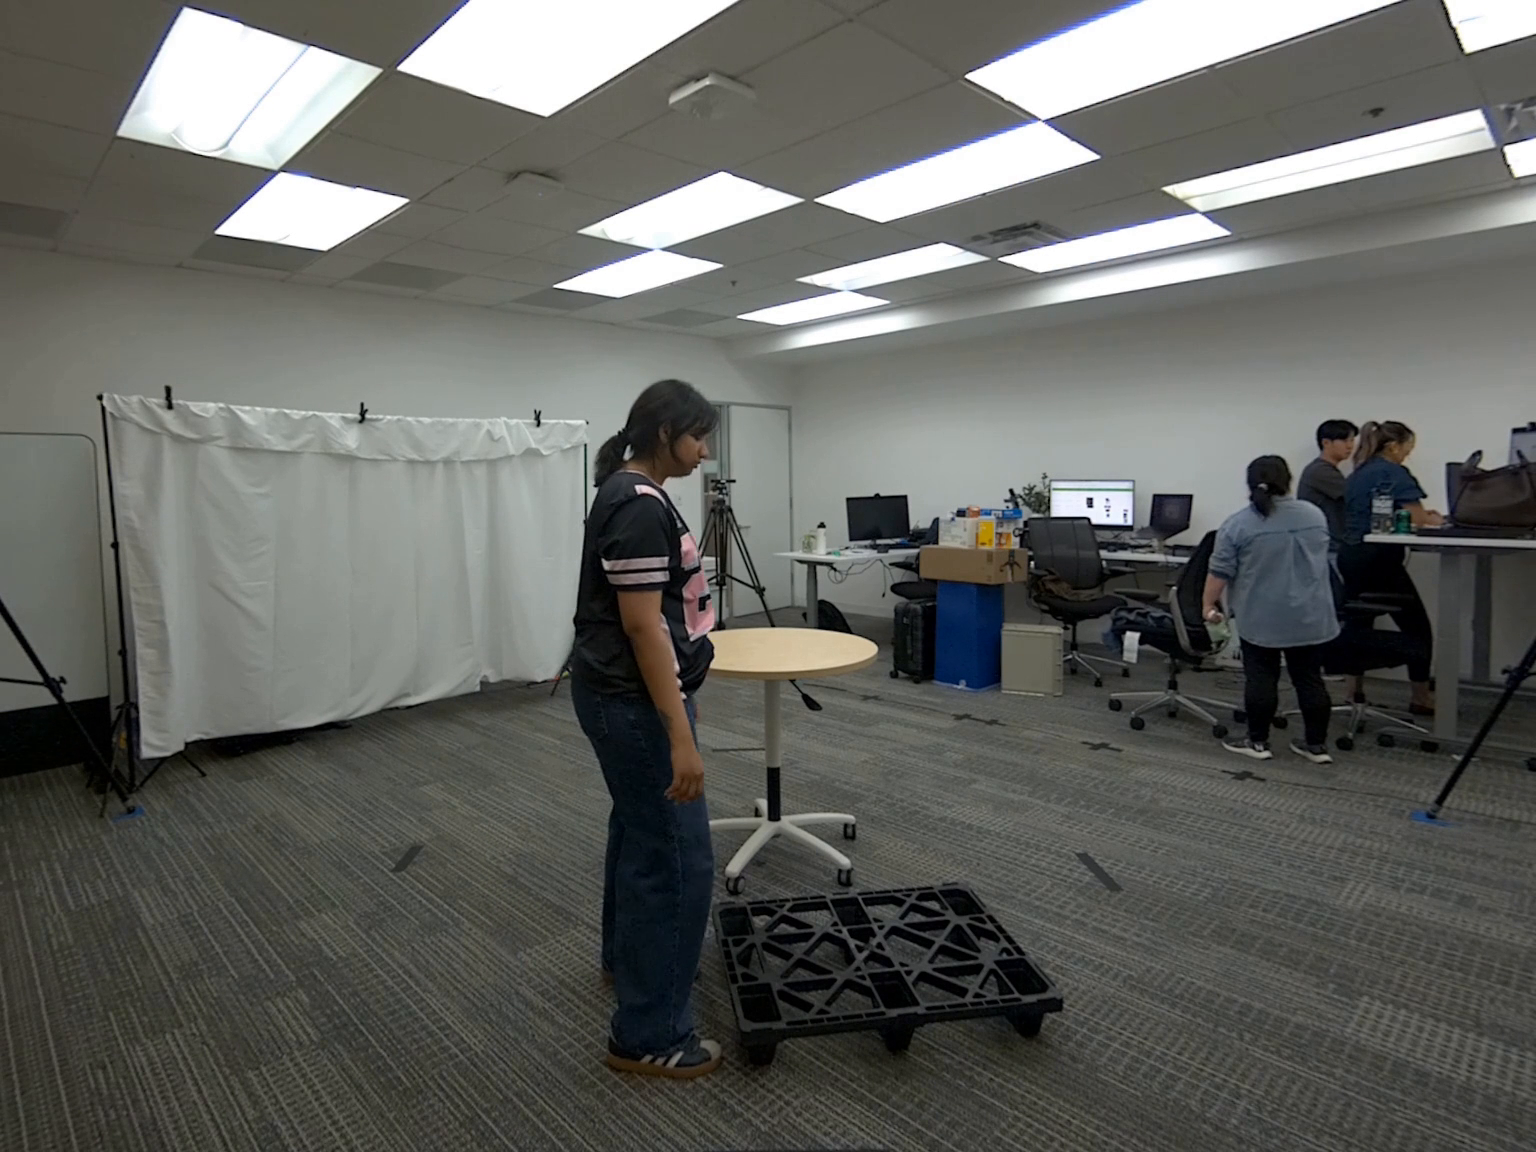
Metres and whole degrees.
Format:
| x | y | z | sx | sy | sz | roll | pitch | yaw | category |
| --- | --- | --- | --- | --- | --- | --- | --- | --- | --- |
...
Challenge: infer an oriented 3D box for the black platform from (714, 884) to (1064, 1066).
| x | y | z | sx | sy | sz | roll | pitch | yaw | category |
| --- | --- | --- | --- | --- | --- | --- | --- | --- | --- |
| 0.280 | 1.067 | 2.315 | 0.799 | 0.143 | 0.612 | -2 | 6 | -9 | black platform |
